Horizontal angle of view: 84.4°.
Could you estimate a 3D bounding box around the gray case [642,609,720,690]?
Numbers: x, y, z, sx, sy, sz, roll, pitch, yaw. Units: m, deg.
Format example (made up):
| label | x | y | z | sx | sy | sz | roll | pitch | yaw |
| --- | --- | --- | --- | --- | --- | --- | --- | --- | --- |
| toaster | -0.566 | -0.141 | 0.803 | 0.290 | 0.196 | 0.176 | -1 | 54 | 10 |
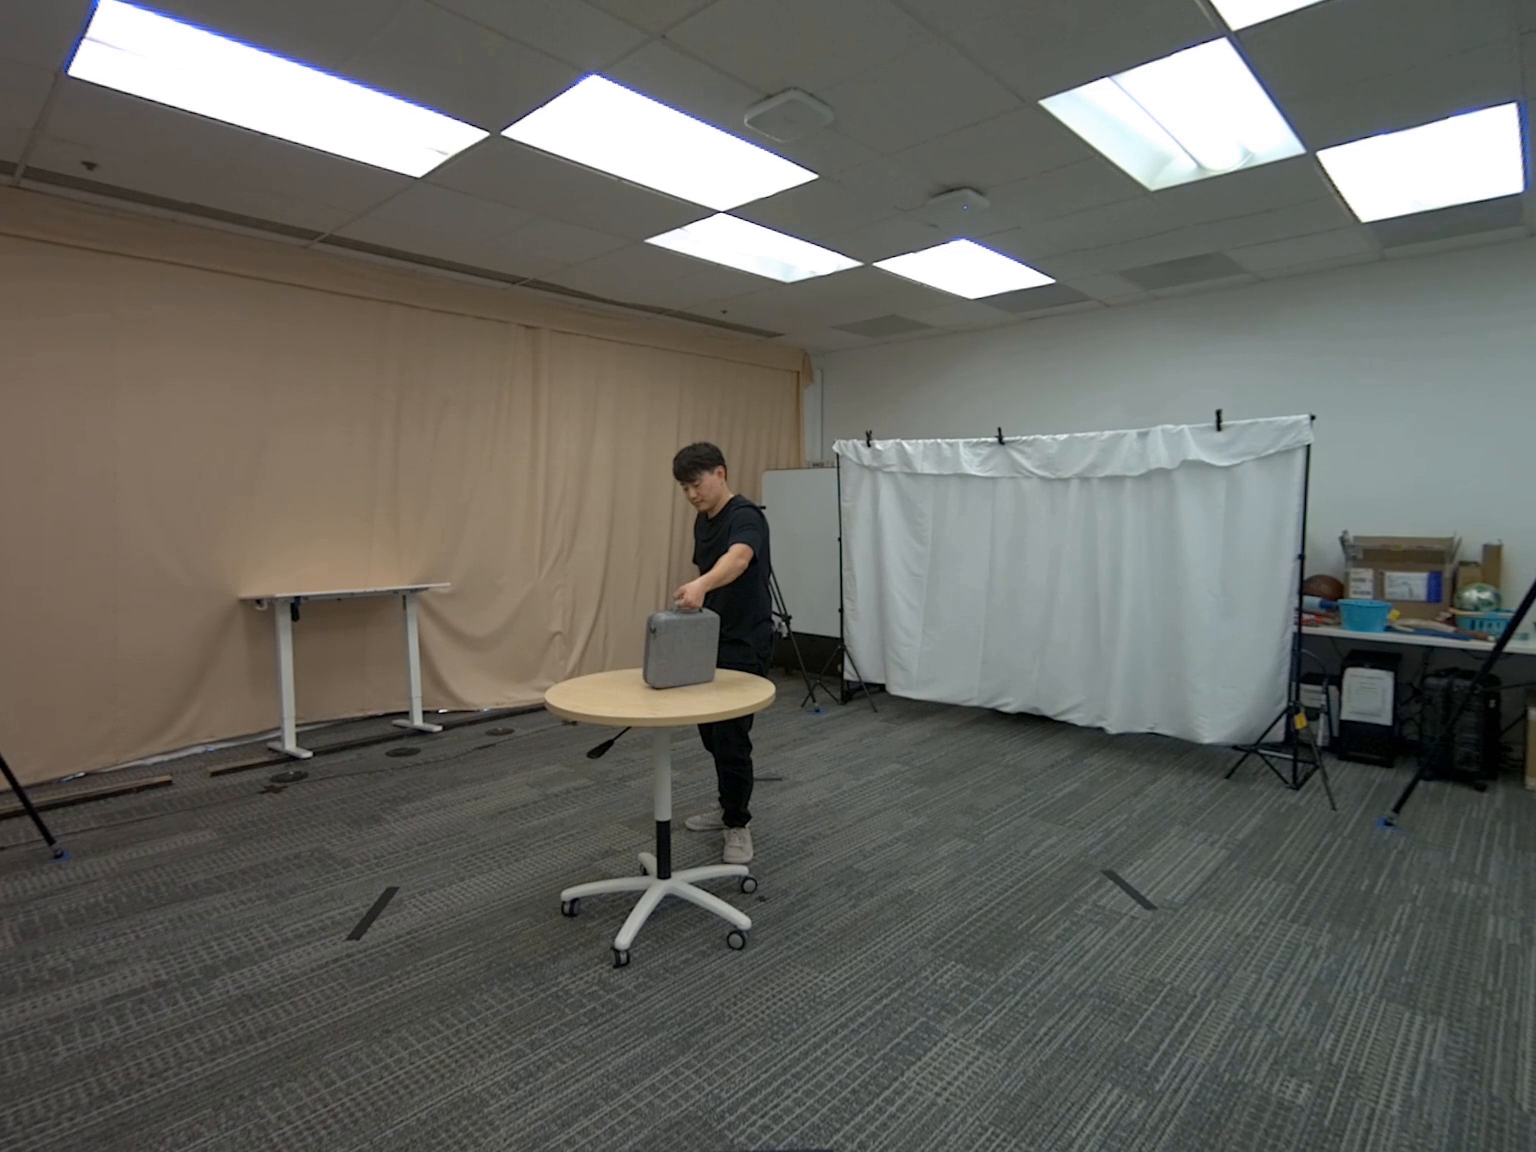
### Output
| label | x | y | z | sx | sy | sz | roll | pitch | yaw |
| --- | --- | --- | --- | --- | --- | --- | --- | --- | --- |
| gray case | -0.295 | 0.238 | 2.876 | 0.249 | 0.259 | 0.108 | -2 | 11 | -35 |
